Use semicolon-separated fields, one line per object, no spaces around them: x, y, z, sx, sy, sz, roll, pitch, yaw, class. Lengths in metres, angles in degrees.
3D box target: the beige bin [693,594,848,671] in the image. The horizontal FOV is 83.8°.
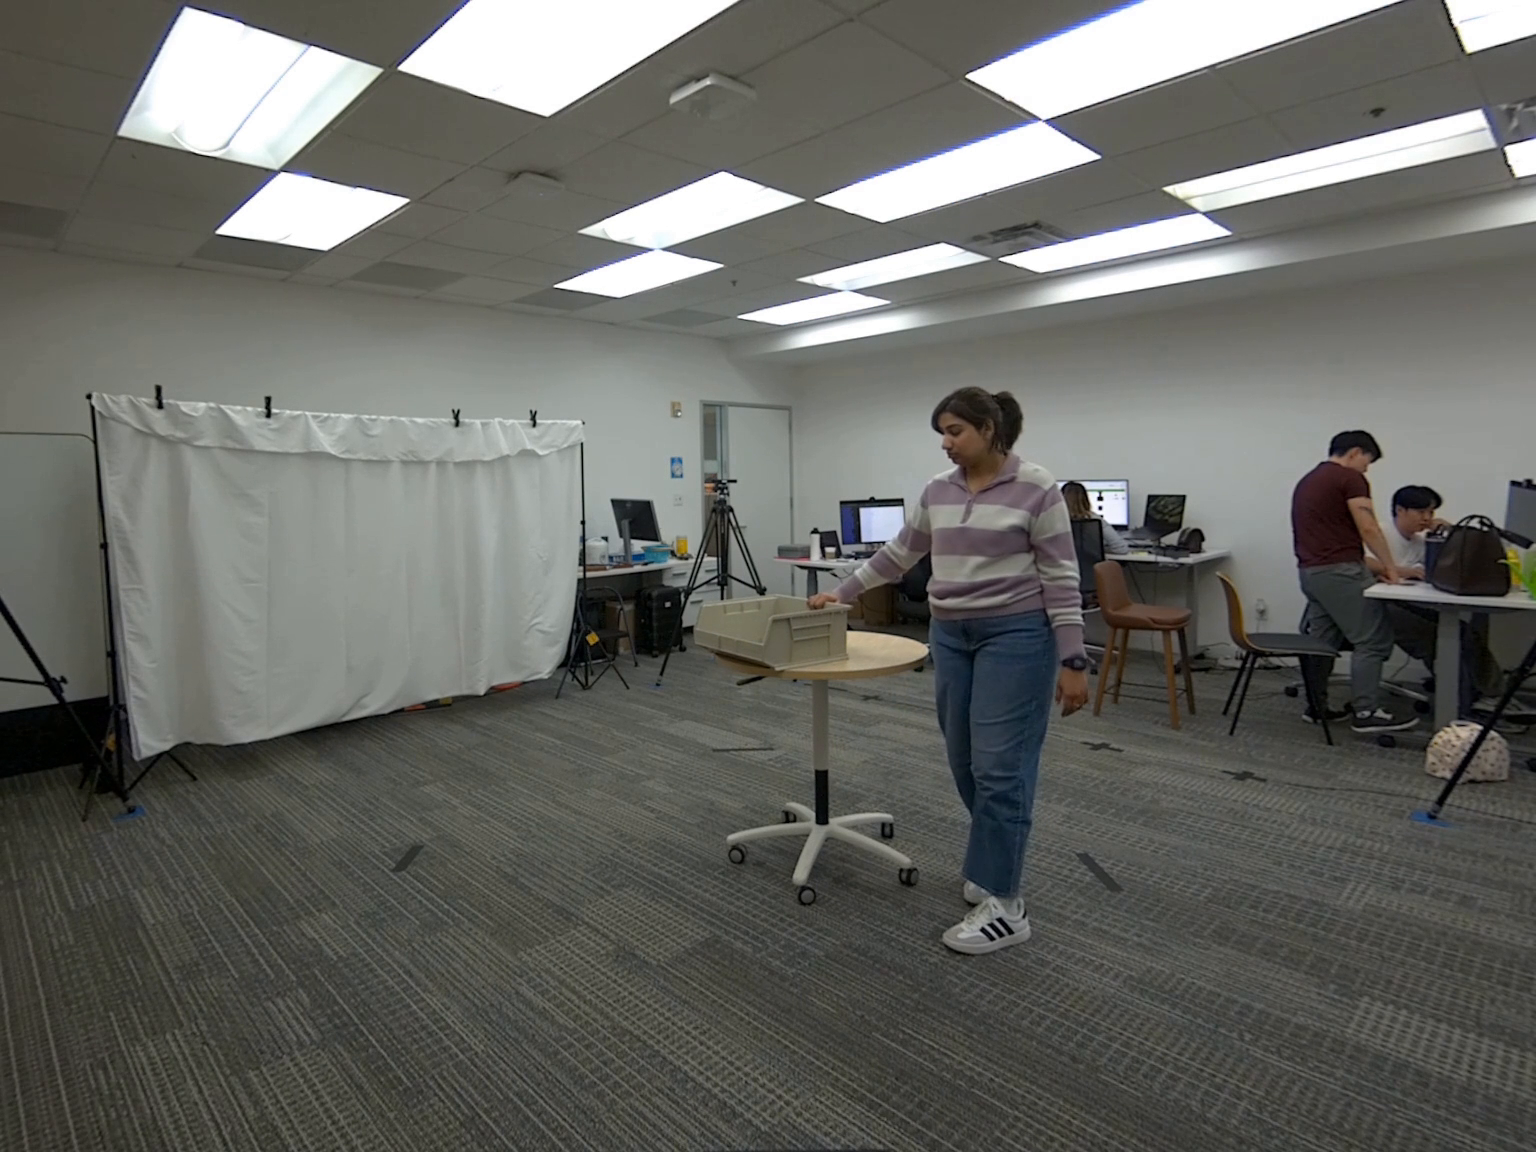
0.013;0.190;2.958;0.367;0.188;0.435;-3;5;-35;beige bin
